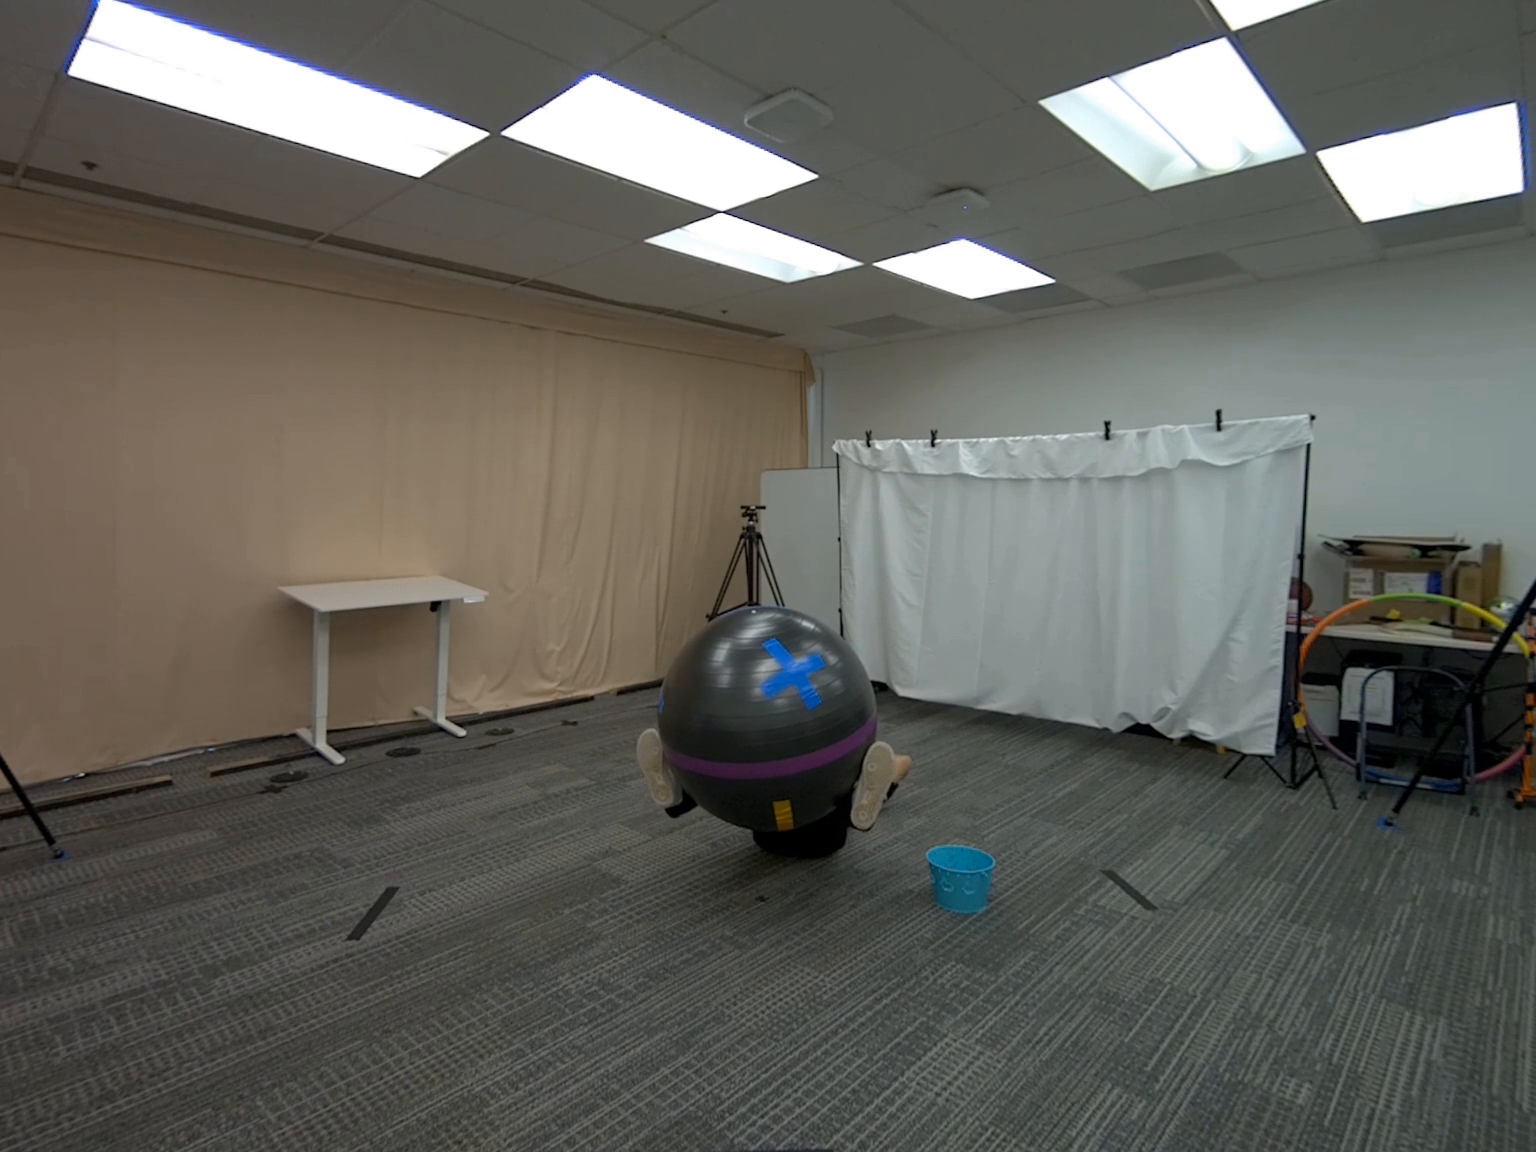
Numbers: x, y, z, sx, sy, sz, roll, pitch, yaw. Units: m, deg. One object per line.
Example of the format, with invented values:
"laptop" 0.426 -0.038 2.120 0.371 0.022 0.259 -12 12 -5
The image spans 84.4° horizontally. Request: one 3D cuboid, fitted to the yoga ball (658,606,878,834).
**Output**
"yoga ball" 0.003 0.489 2.930 0.757 0.756 0.760 0 4 -2
